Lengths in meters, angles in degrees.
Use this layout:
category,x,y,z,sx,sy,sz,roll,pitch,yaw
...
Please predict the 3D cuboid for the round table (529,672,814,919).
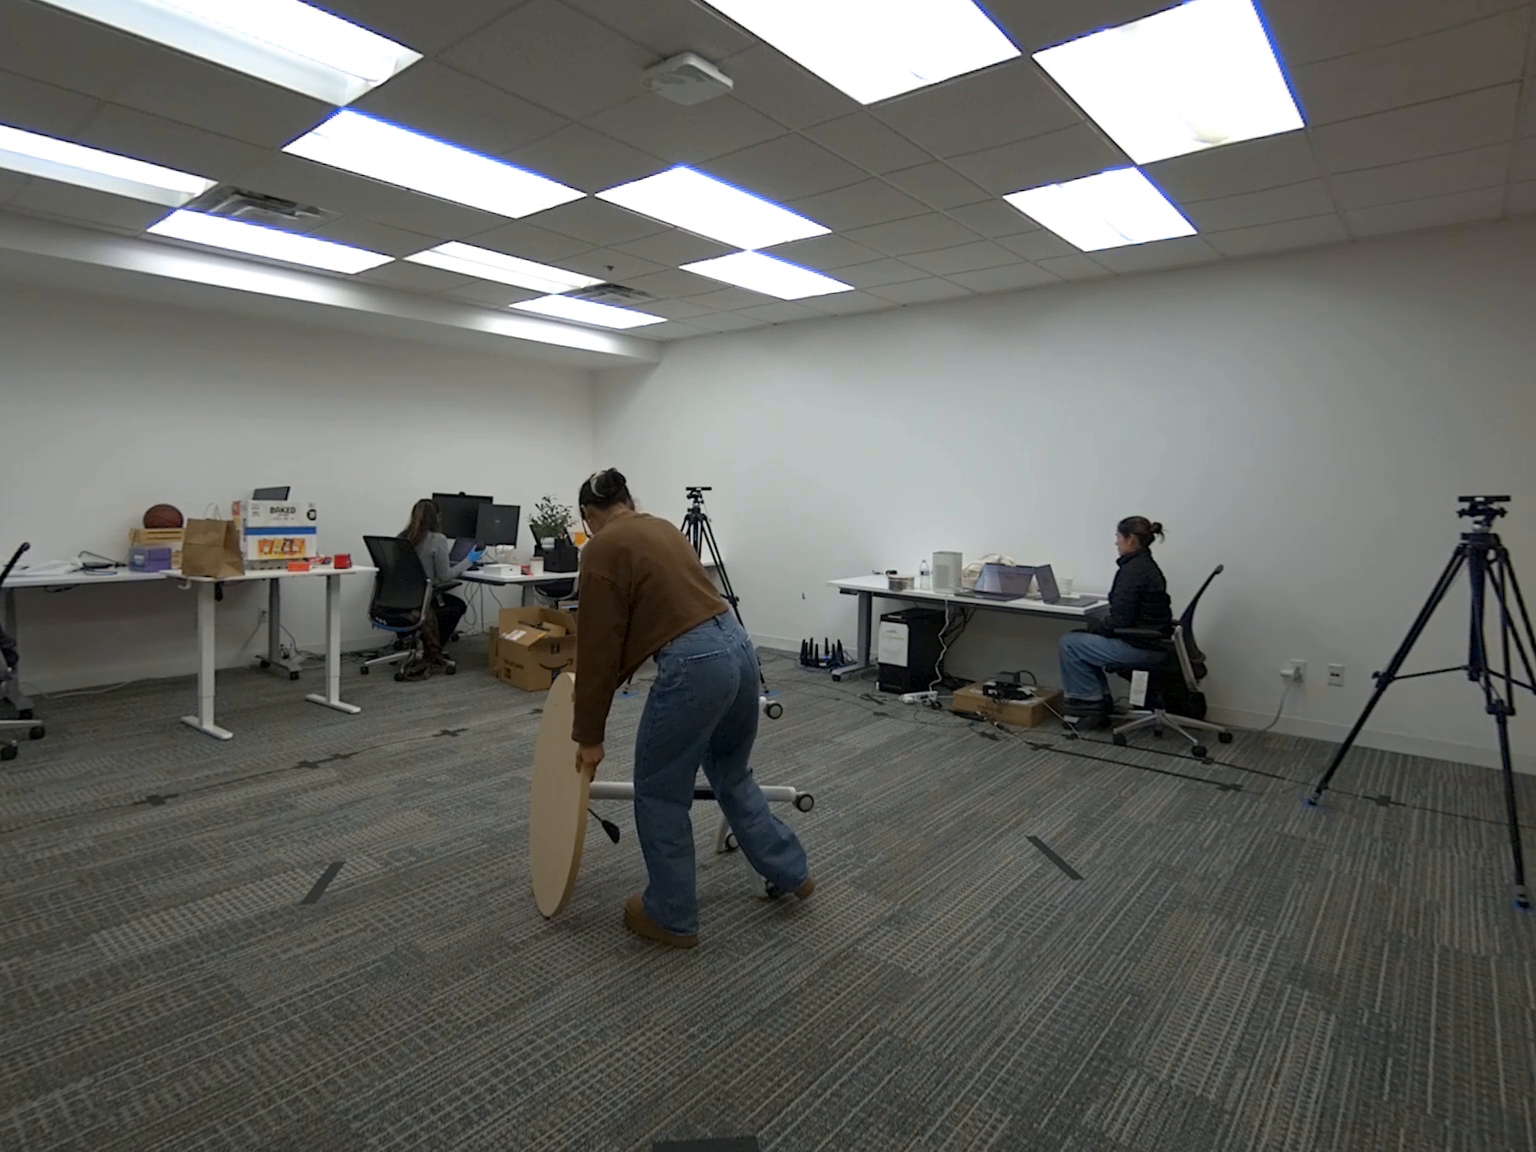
category,x,y,z,sx,sy,sz,roll,pitch,yaw
round table,-0.364,0.755,2.954,0.775,0.763,0.783,7,1,-22
